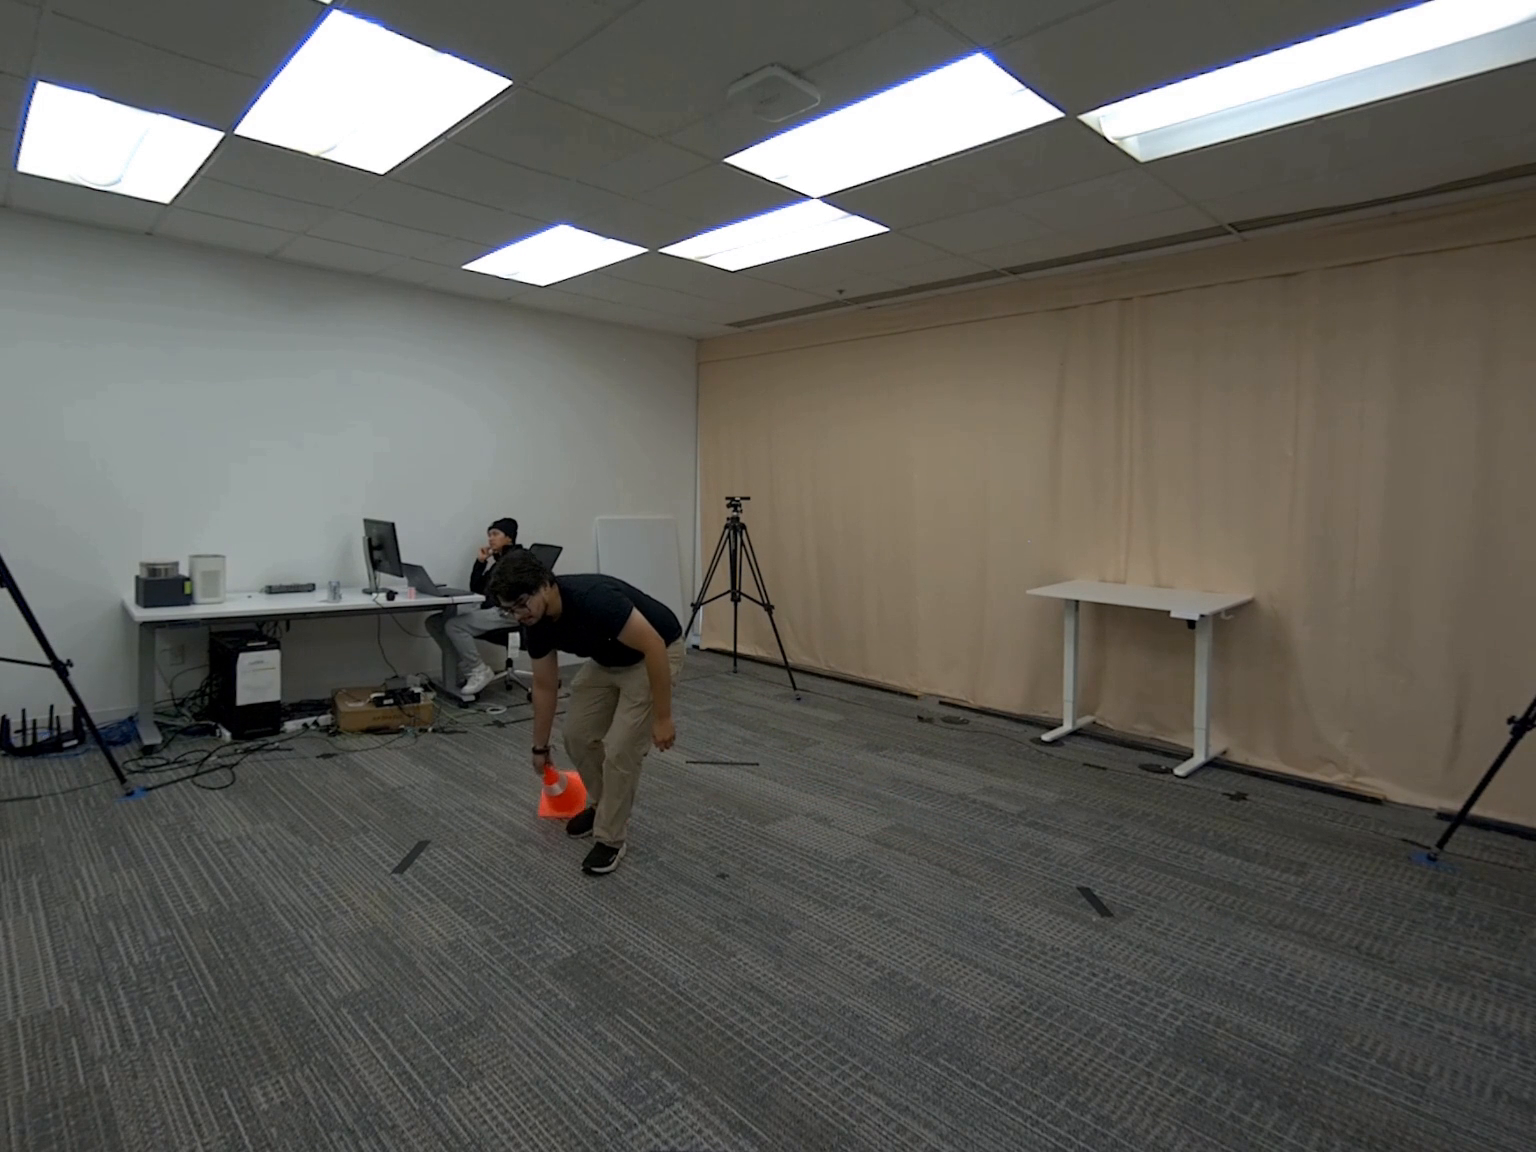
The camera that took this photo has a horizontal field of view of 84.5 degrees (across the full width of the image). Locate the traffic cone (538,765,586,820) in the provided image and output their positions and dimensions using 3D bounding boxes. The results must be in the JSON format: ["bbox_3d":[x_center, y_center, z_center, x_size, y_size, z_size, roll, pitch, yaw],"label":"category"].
[{"bbox_3d":[-0.903,0.864,3.531,0.204,0.209,0.376,3,-31,2],"label":"traffic cone"}]
